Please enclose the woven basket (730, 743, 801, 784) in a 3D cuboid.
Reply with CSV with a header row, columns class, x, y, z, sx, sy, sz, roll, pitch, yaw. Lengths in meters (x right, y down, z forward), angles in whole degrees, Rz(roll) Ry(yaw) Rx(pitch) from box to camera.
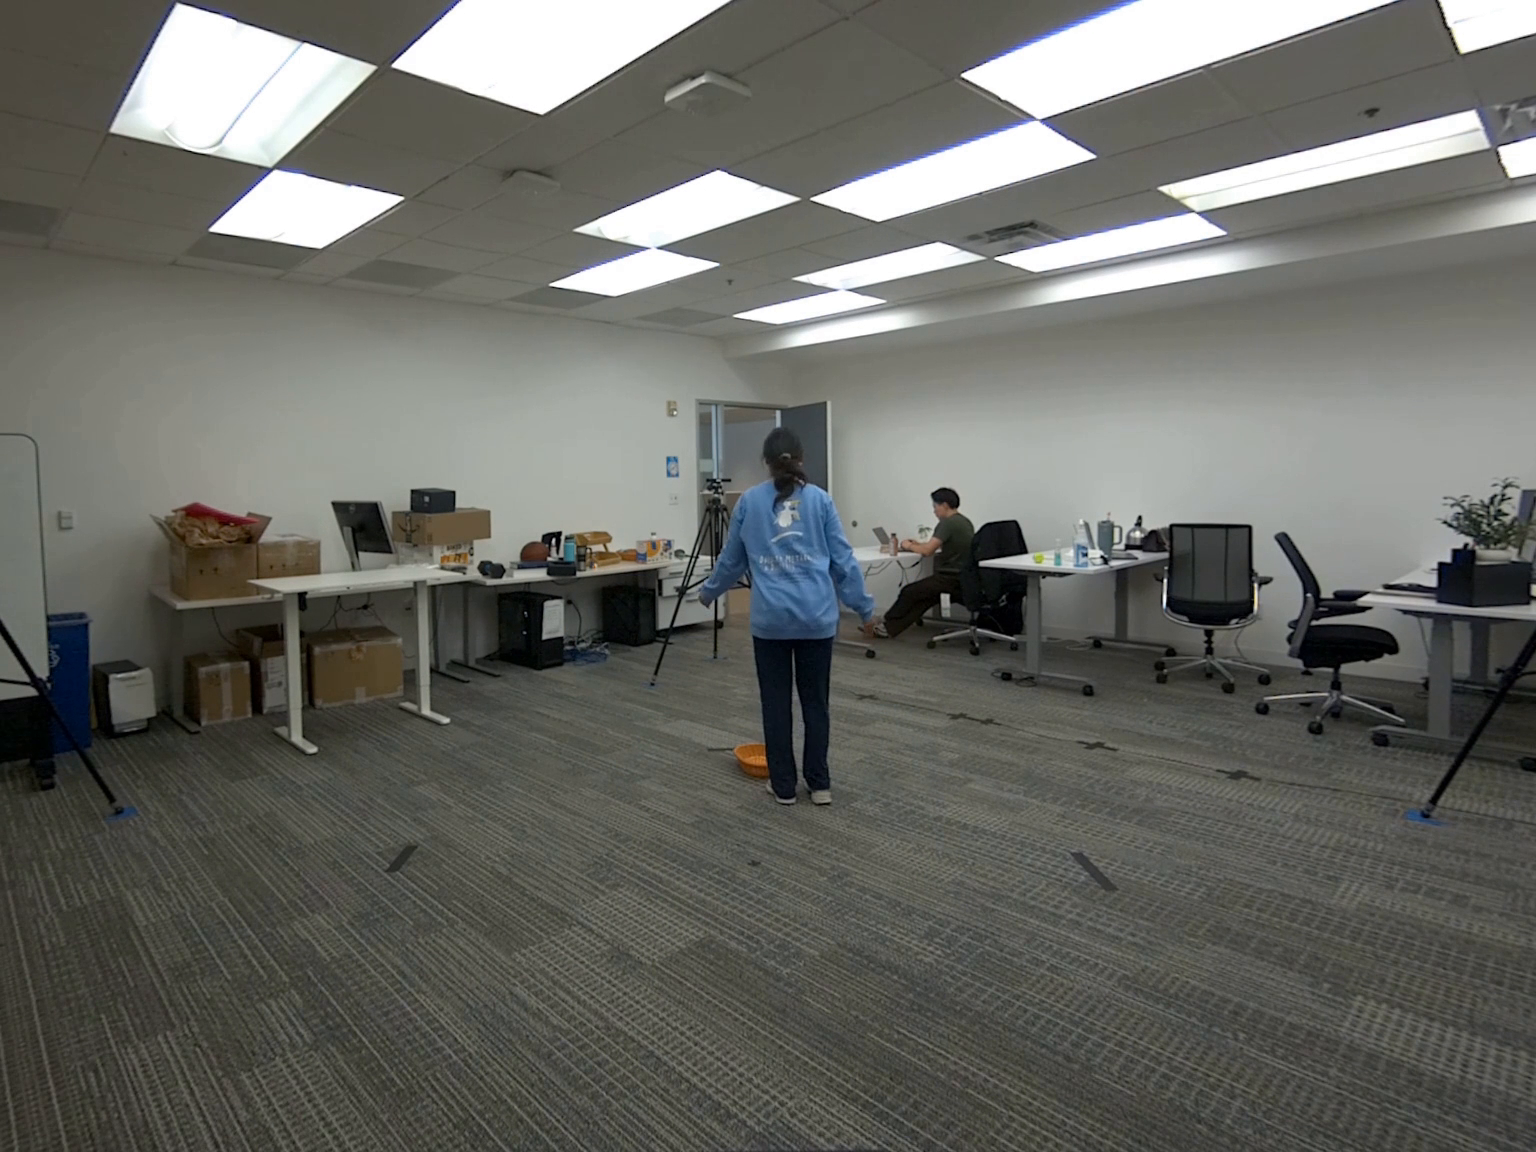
class,x,y,z,sx,sy,sz,roll,pitch,yaw
woven basket,-0.022,0.894,4.134,0.249,0.073,0.356,-2,6,-14
